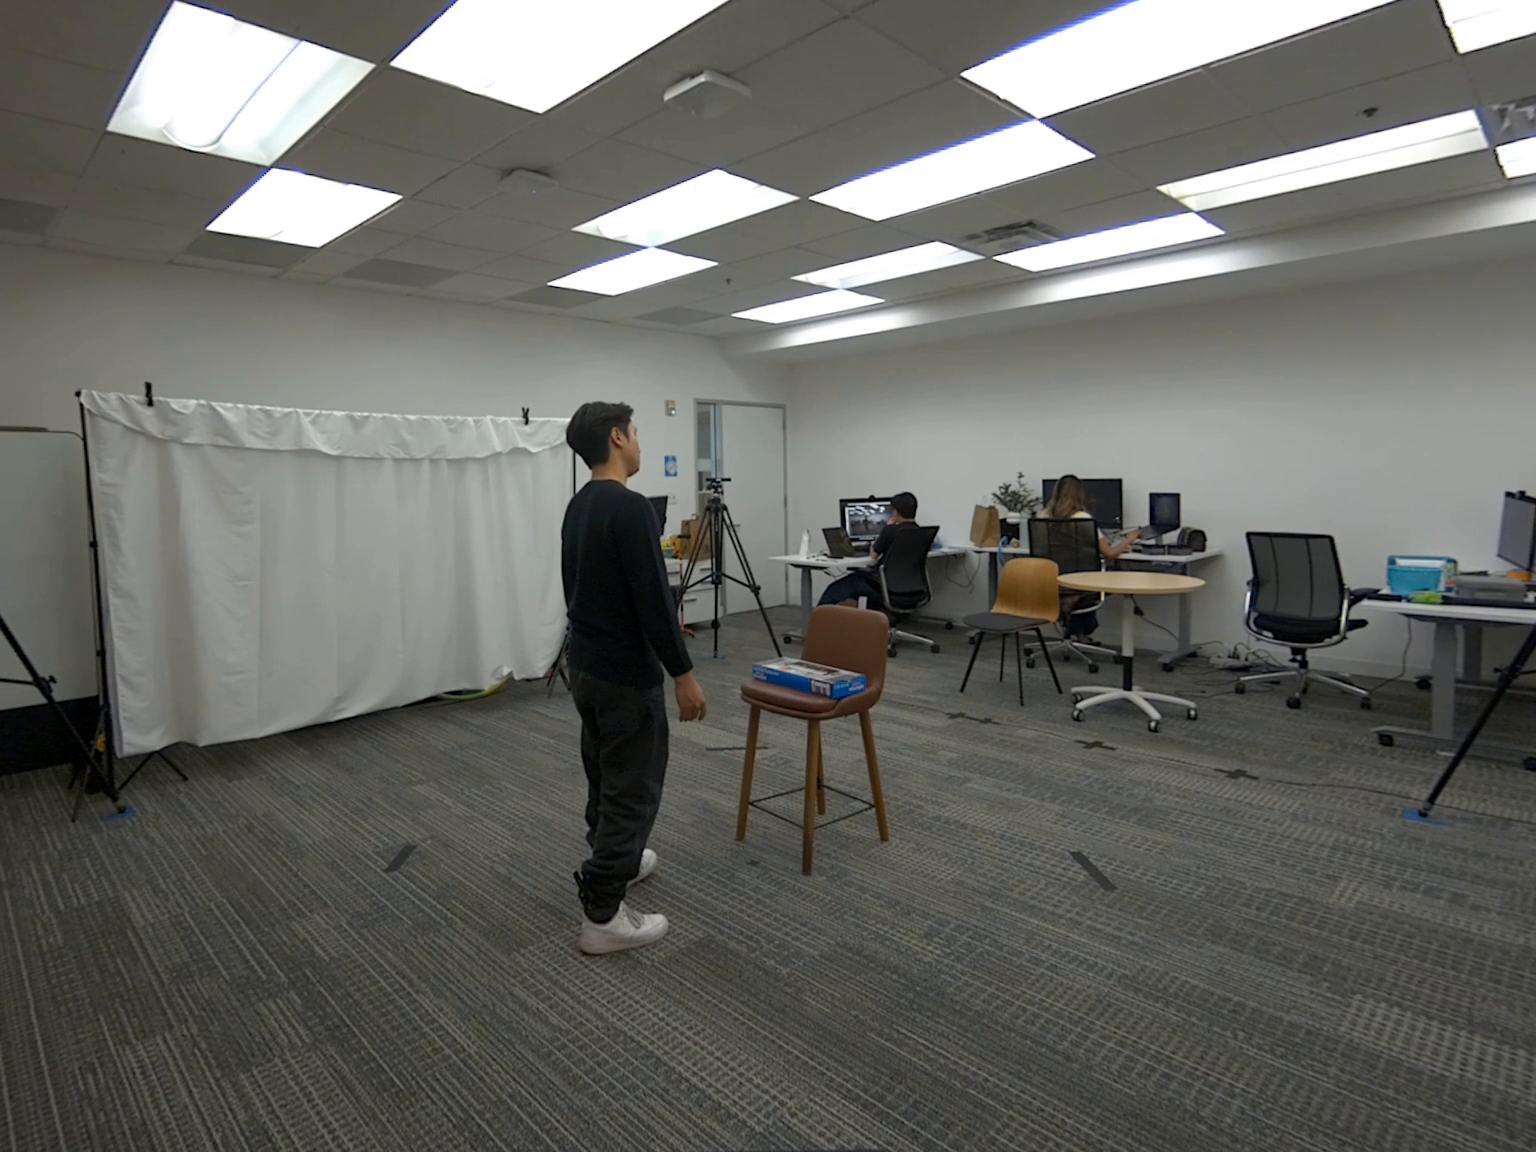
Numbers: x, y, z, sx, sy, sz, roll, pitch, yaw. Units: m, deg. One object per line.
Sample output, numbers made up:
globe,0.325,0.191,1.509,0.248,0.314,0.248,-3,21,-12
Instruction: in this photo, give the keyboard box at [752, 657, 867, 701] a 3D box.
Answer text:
keyboard box,0.149,0.377,3.233,0.171,0.059,0.450,-7,9,-39
